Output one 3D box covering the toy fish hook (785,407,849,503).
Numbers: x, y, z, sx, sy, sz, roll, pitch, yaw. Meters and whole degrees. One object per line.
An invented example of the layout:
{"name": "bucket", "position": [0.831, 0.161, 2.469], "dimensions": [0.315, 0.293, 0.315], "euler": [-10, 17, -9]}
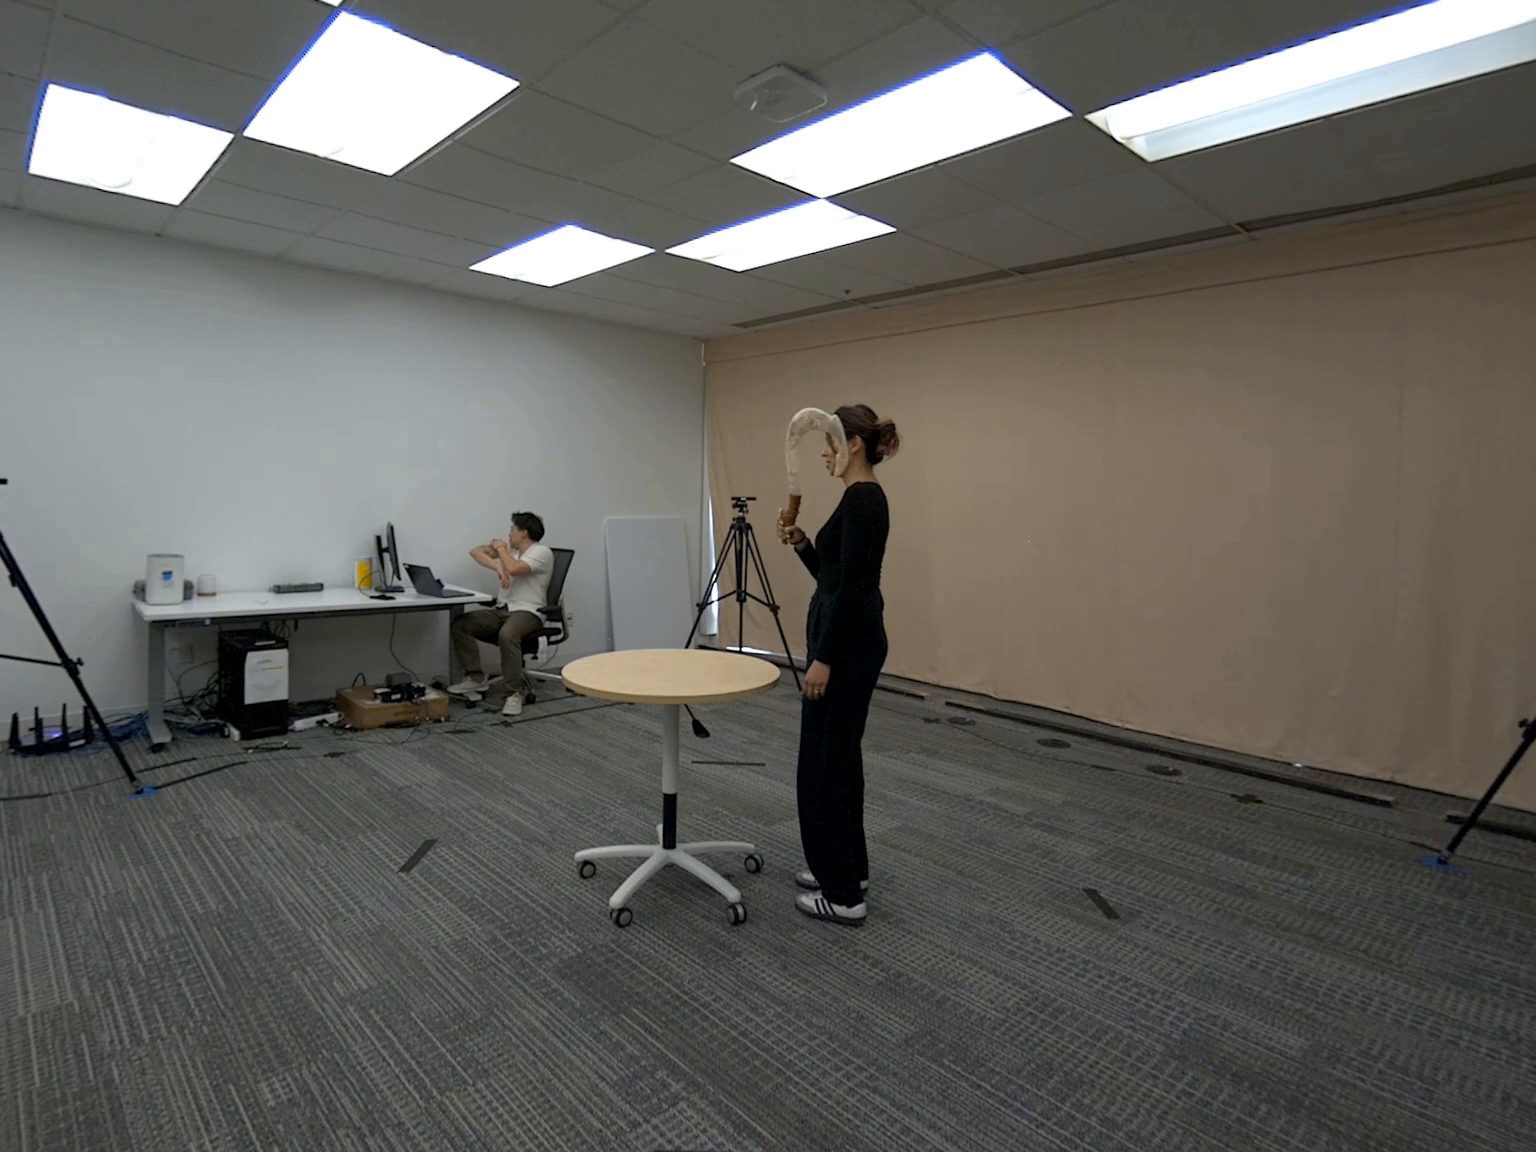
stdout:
{"name": "toy fish hook", "position": [0.125, -0.298, 2.787], "dimensions": [0.230, 0.499, 0.048], "euler": [28, 34, 28]}
